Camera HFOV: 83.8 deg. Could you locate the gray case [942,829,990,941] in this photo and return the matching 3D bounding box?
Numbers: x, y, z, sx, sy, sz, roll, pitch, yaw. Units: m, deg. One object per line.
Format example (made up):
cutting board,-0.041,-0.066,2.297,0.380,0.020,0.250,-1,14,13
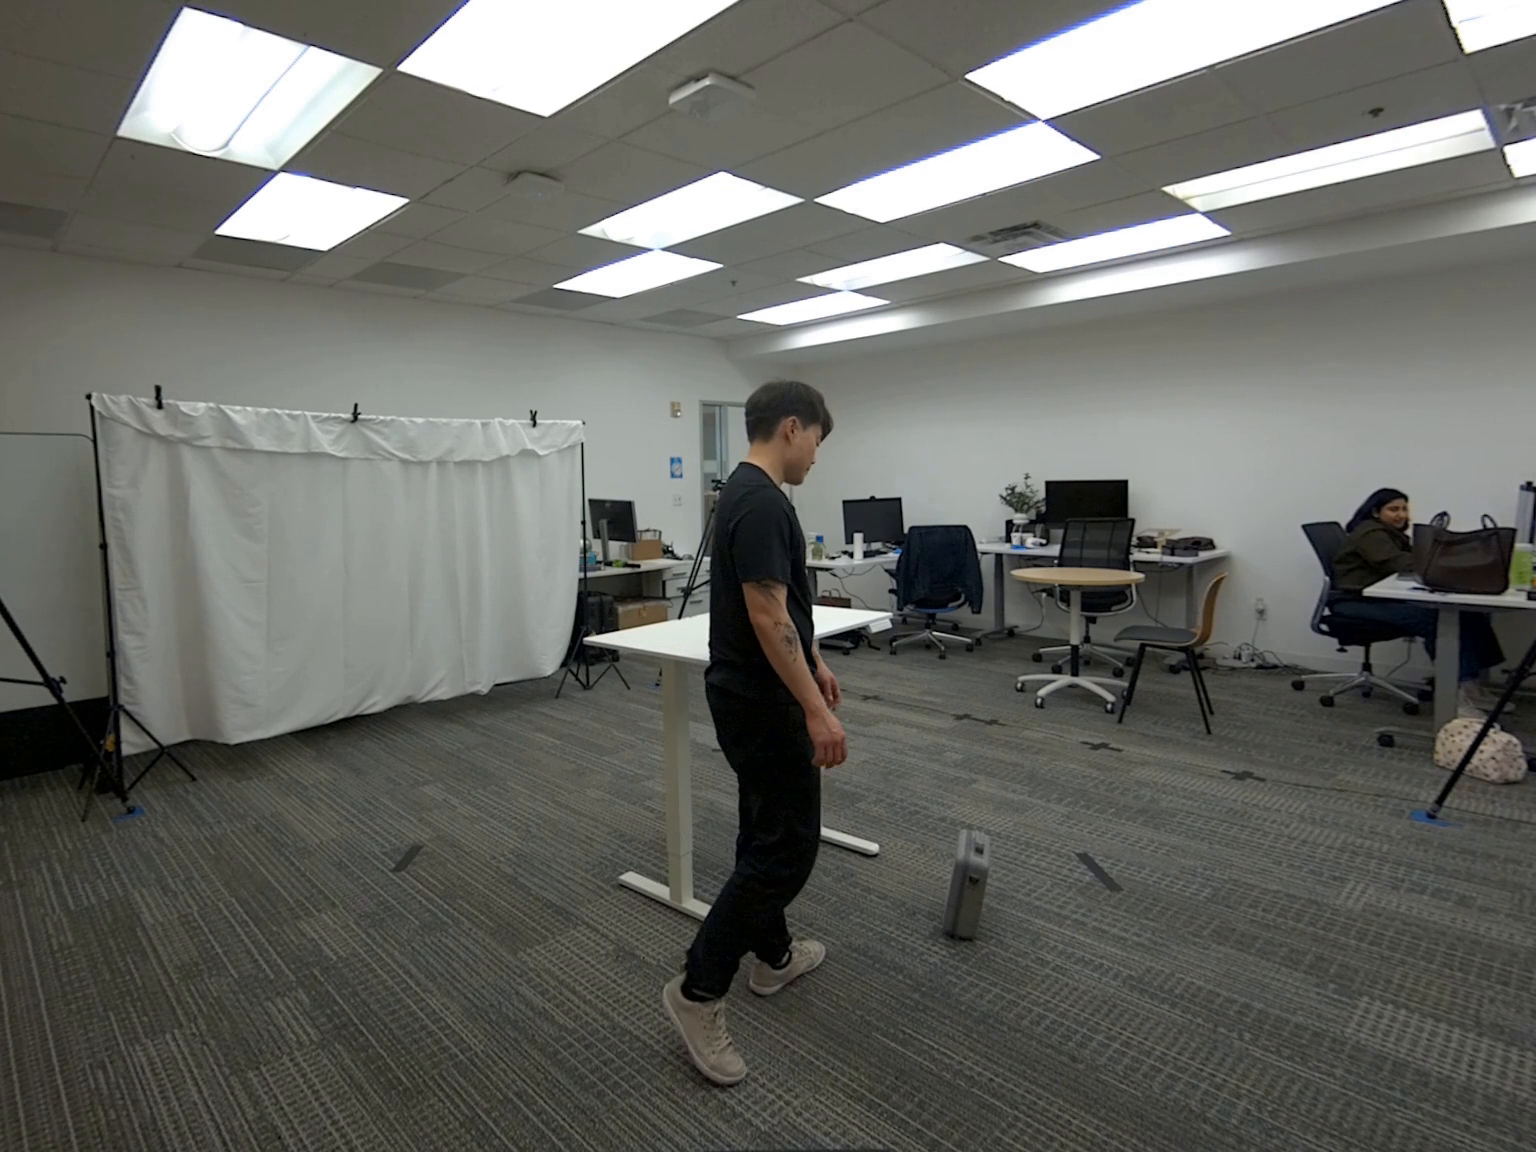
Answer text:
gray case,0.623,0.947,2.664,0.106,0.259,0.254,10,9,16
